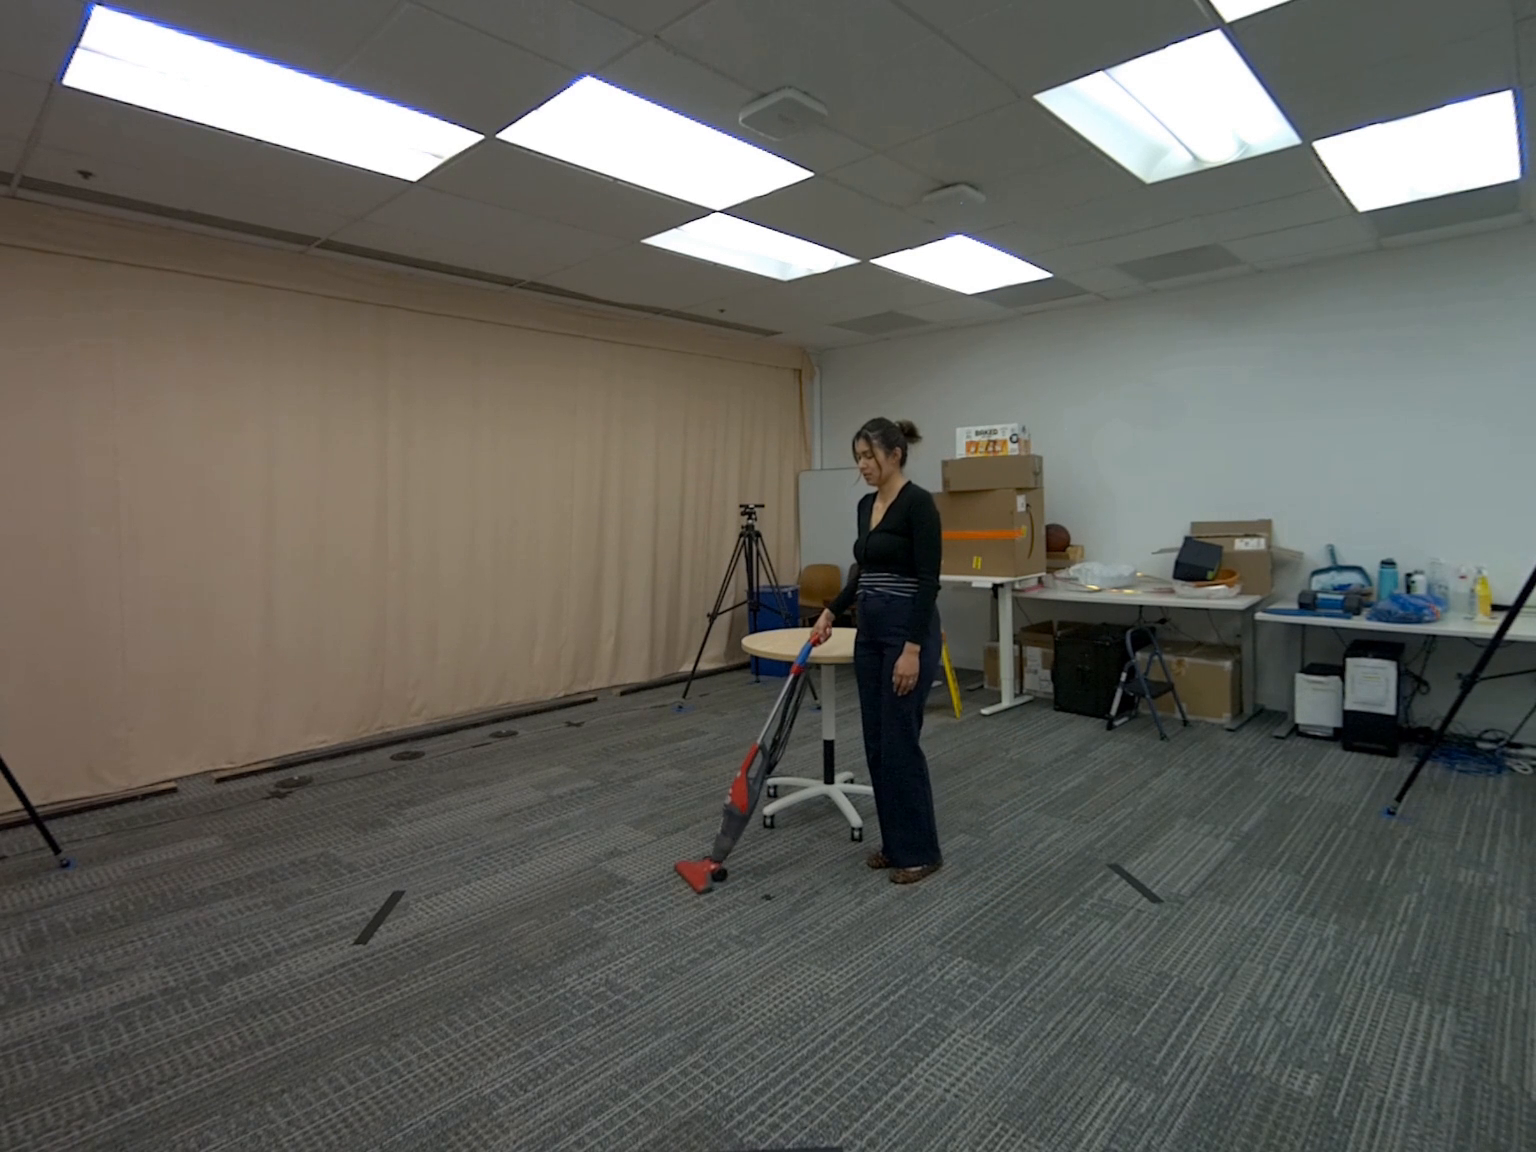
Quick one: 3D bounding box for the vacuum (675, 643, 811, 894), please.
[{"bbox_3d":[-0.015,0.669,3.247,0.140,1.050,0.260,32,-12,-28],"label":"vacuum"}]
